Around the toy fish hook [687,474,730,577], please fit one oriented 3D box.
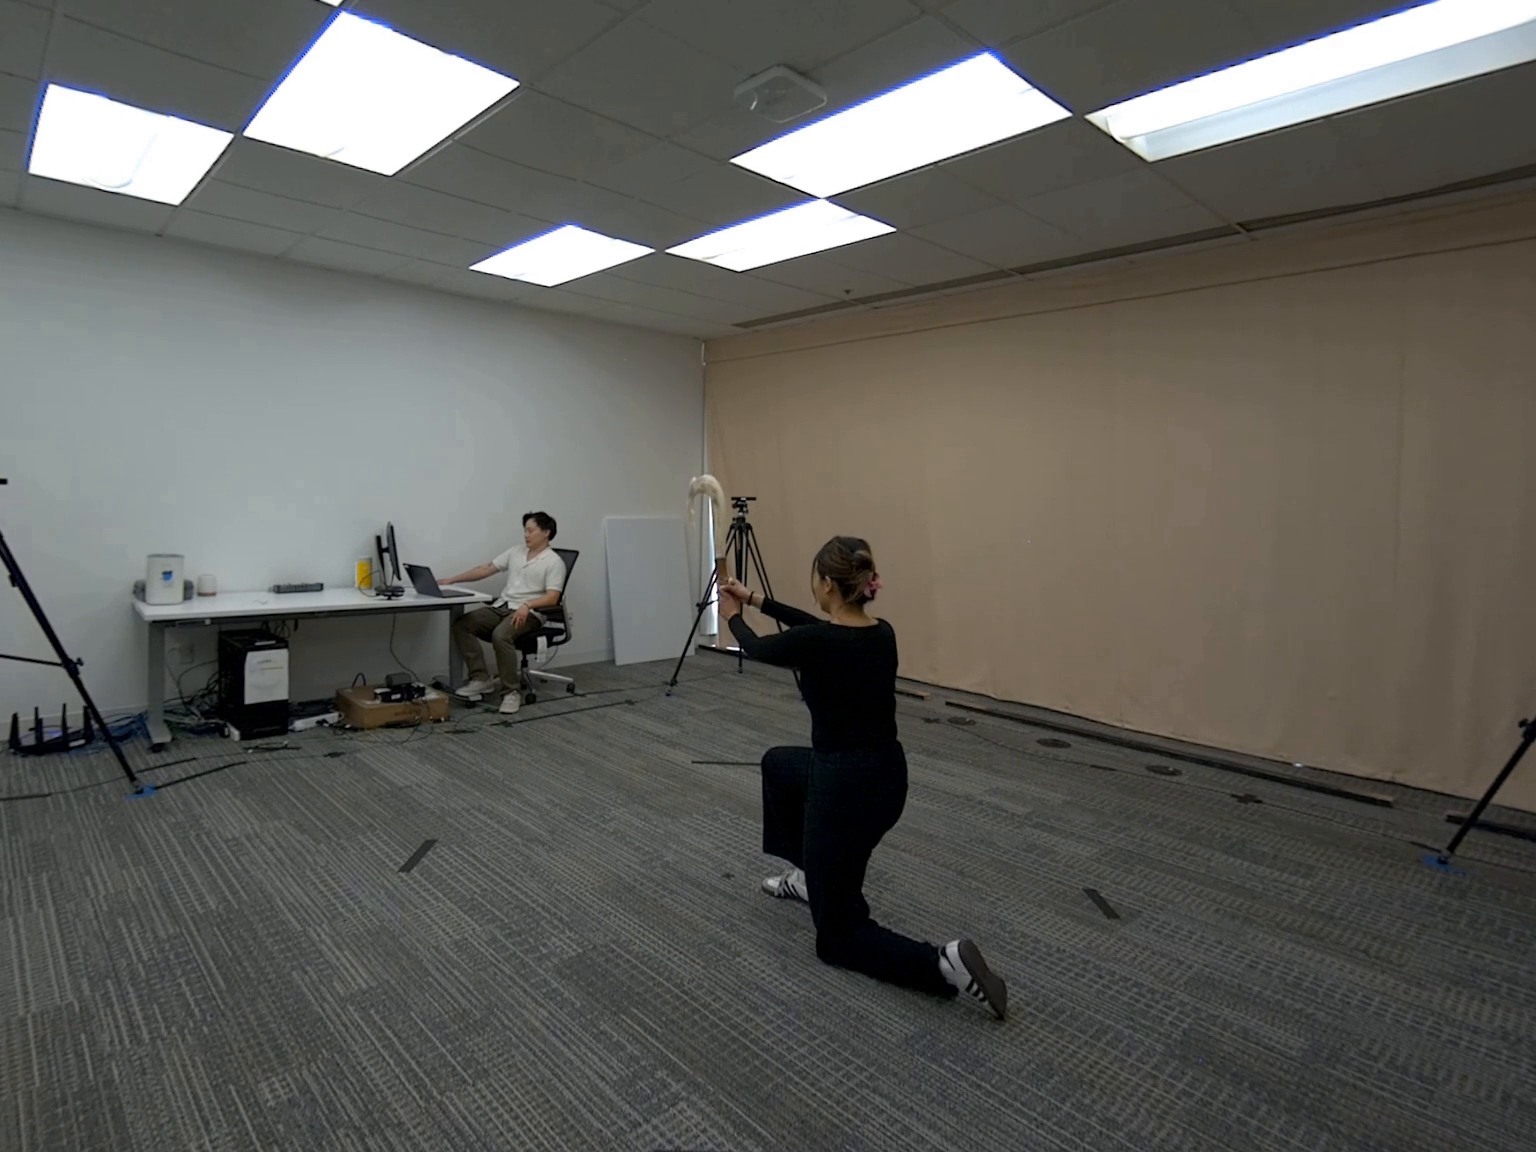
[{"bbox_3d":[-0.212,-0.115,3.100,0.047,0.507,0.229,-8,0,-37],"label":"toy fish hook"}]
